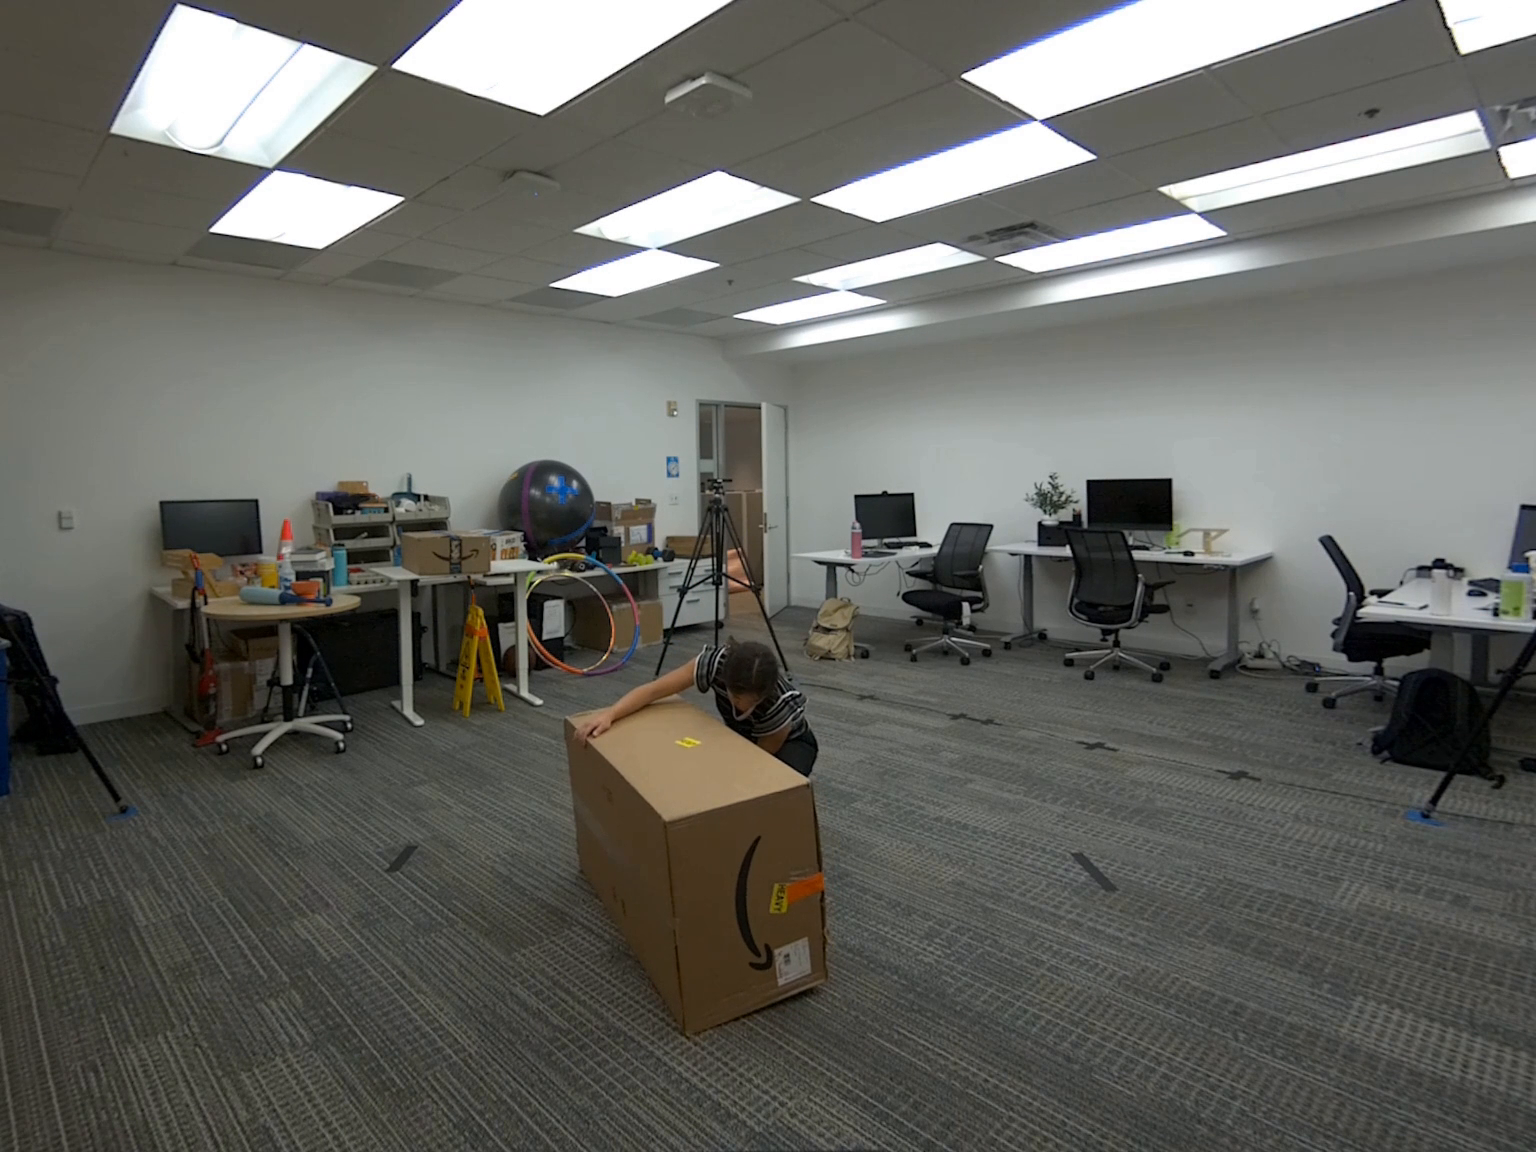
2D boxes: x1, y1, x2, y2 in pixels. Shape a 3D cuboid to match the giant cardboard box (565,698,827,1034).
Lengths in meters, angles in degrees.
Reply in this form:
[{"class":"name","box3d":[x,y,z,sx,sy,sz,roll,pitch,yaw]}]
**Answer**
[{"class":"giant cardboard box","box3d":[-0.281,0.798,2.665,0.418,0.574,1.052,-7,8,-25]}]
